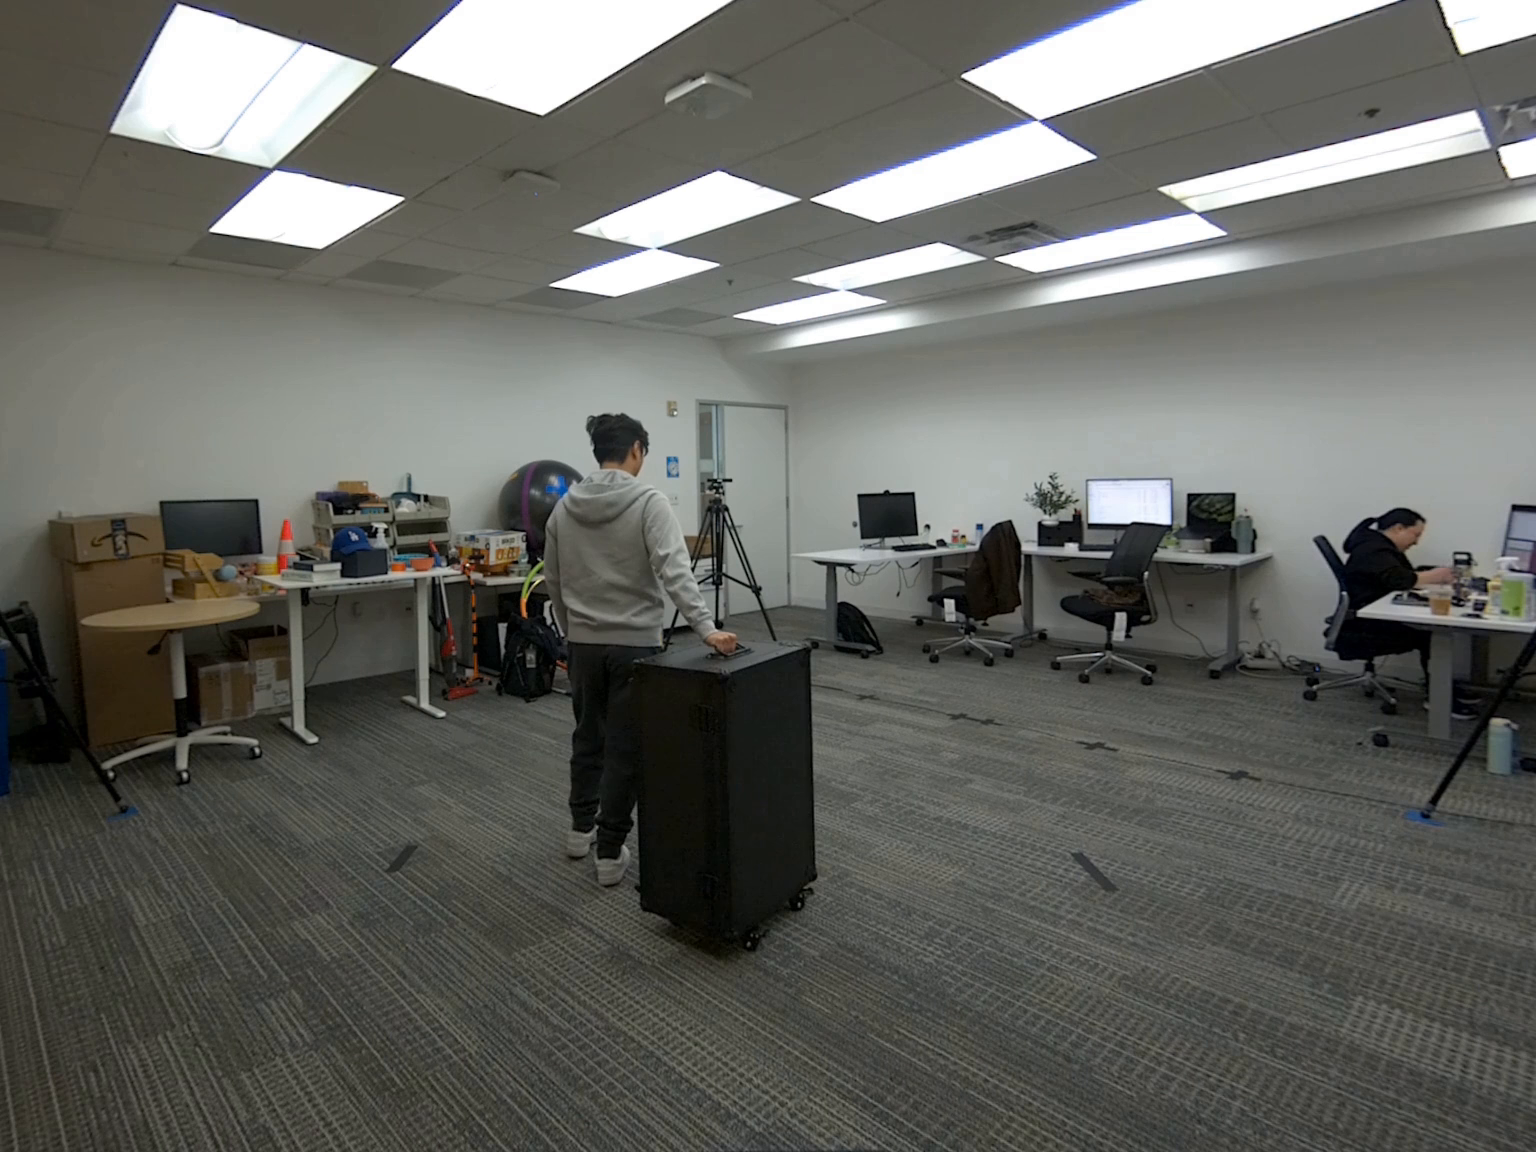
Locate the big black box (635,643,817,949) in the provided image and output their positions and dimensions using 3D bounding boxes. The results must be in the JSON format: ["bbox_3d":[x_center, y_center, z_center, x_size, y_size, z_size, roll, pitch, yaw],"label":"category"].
[{"bbox_3d":[-0.136,0.668,2.717,0.407,0.859,0.508,0,4,35],"label":"big black box"}]
